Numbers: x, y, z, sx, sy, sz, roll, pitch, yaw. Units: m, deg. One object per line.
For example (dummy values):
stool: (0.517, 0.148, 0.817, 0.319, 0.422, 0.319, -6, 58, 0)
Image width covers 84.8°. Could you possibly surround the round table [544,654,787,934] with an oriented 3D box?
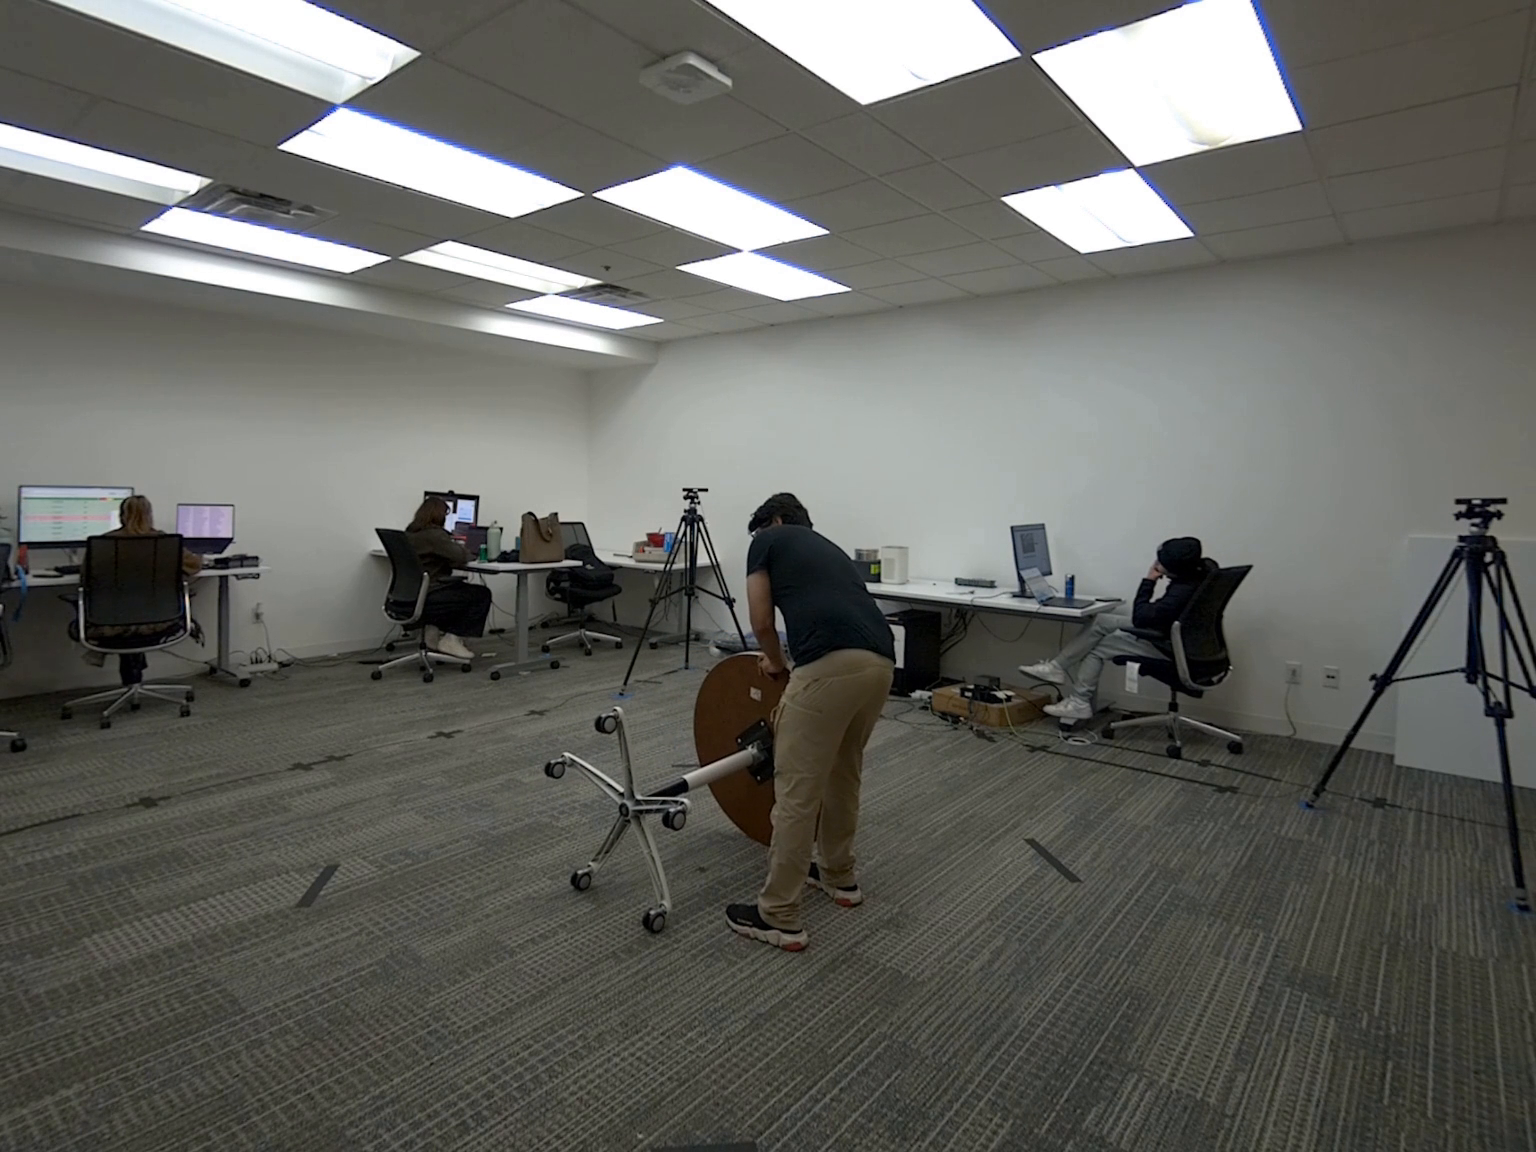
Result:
round table: (-0.286, 0.719, 3.035, 0.812, 0.780, 0.765, 5, 10, 43)
